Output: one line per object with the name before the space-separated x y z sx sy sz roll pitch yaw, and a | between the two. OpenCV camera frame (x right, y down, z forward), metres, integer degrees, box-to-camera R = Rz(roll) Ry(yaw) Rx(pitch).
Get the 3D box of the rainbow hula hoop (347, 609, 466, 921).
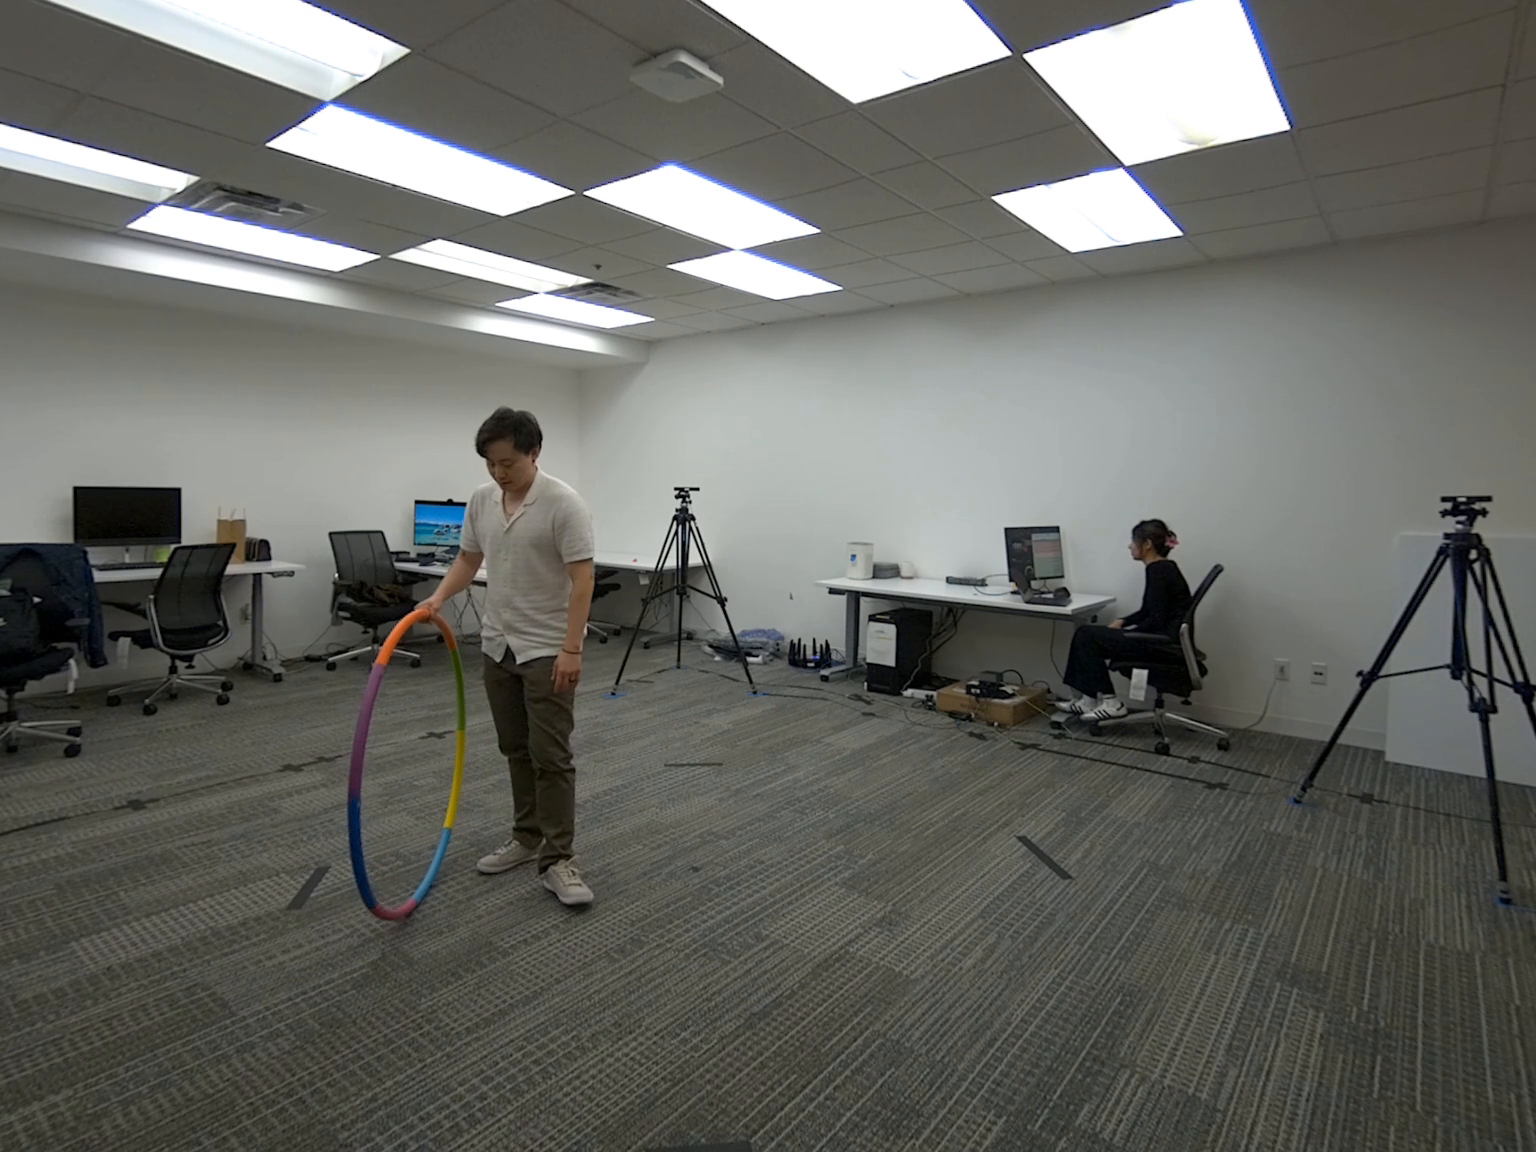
rainbow hula hoop | -1.169 0.599 2.800 0.035 0.976 0.985 1 4 -4
